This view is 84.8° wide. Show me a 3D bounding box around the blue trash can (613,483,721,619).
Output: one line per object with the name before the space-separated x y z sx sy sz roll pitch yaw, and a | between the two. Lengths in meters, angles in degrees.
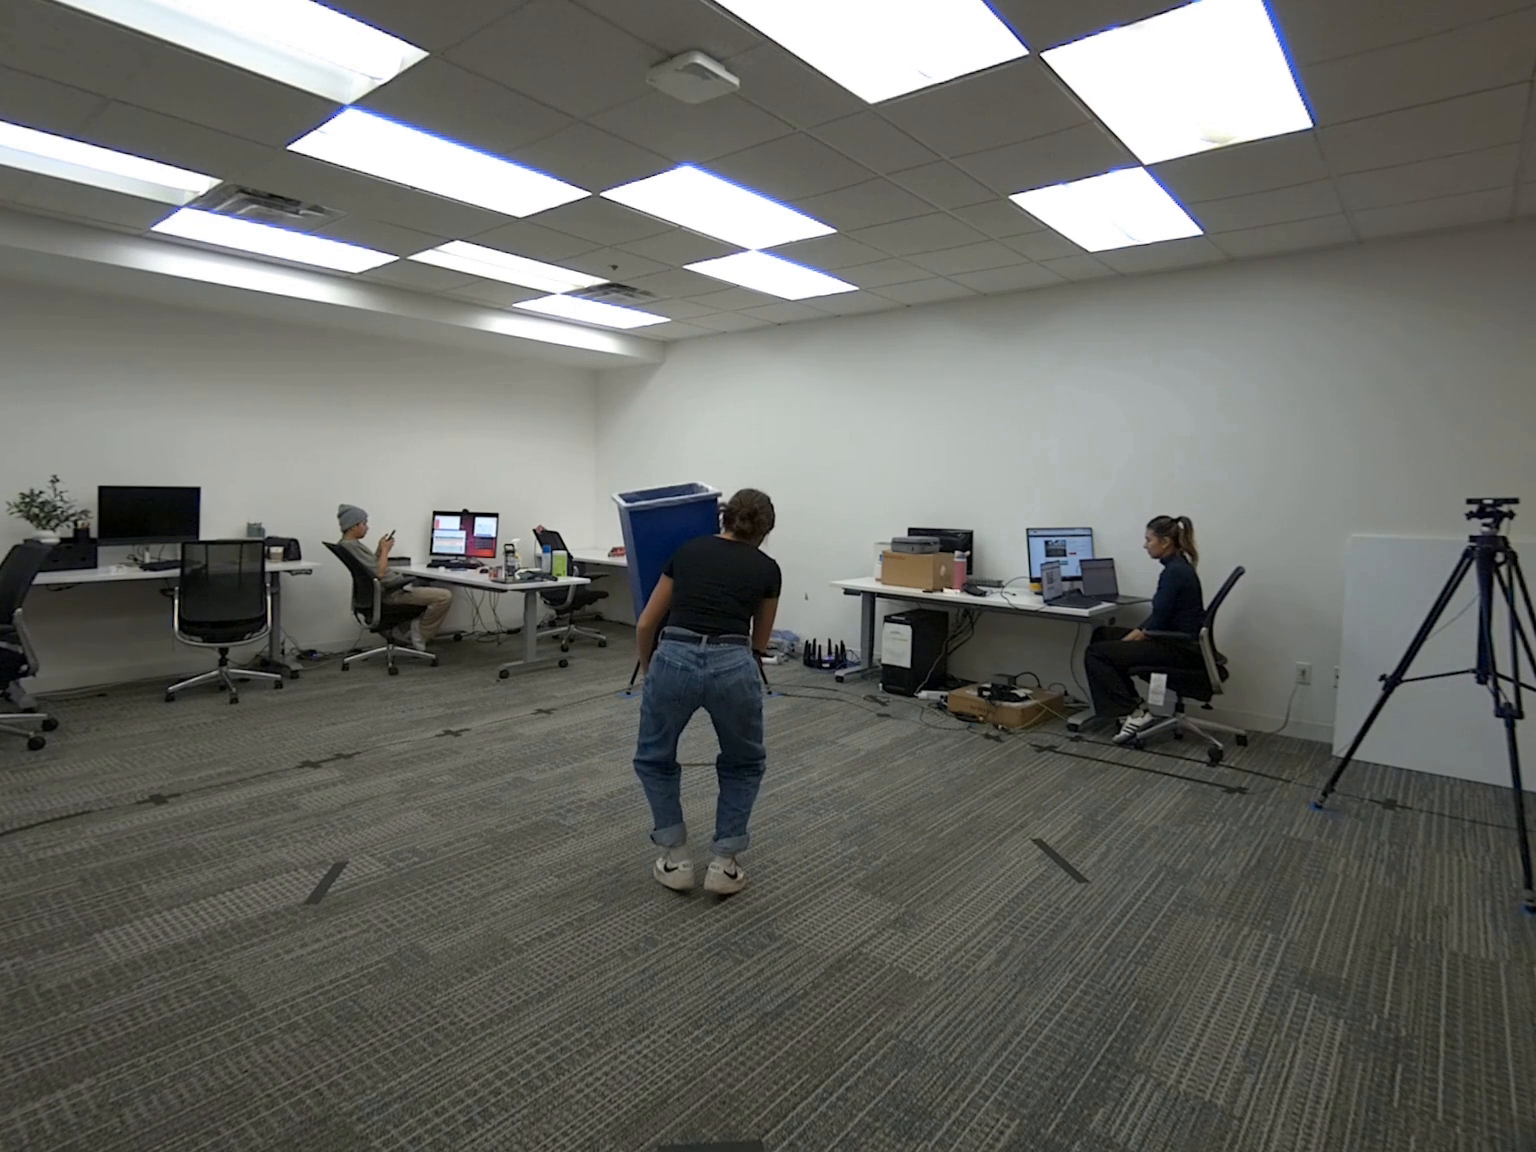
blue trash can | -0.377 0.027 3.301 0.369 0.705 0.388 -8 12 -15
